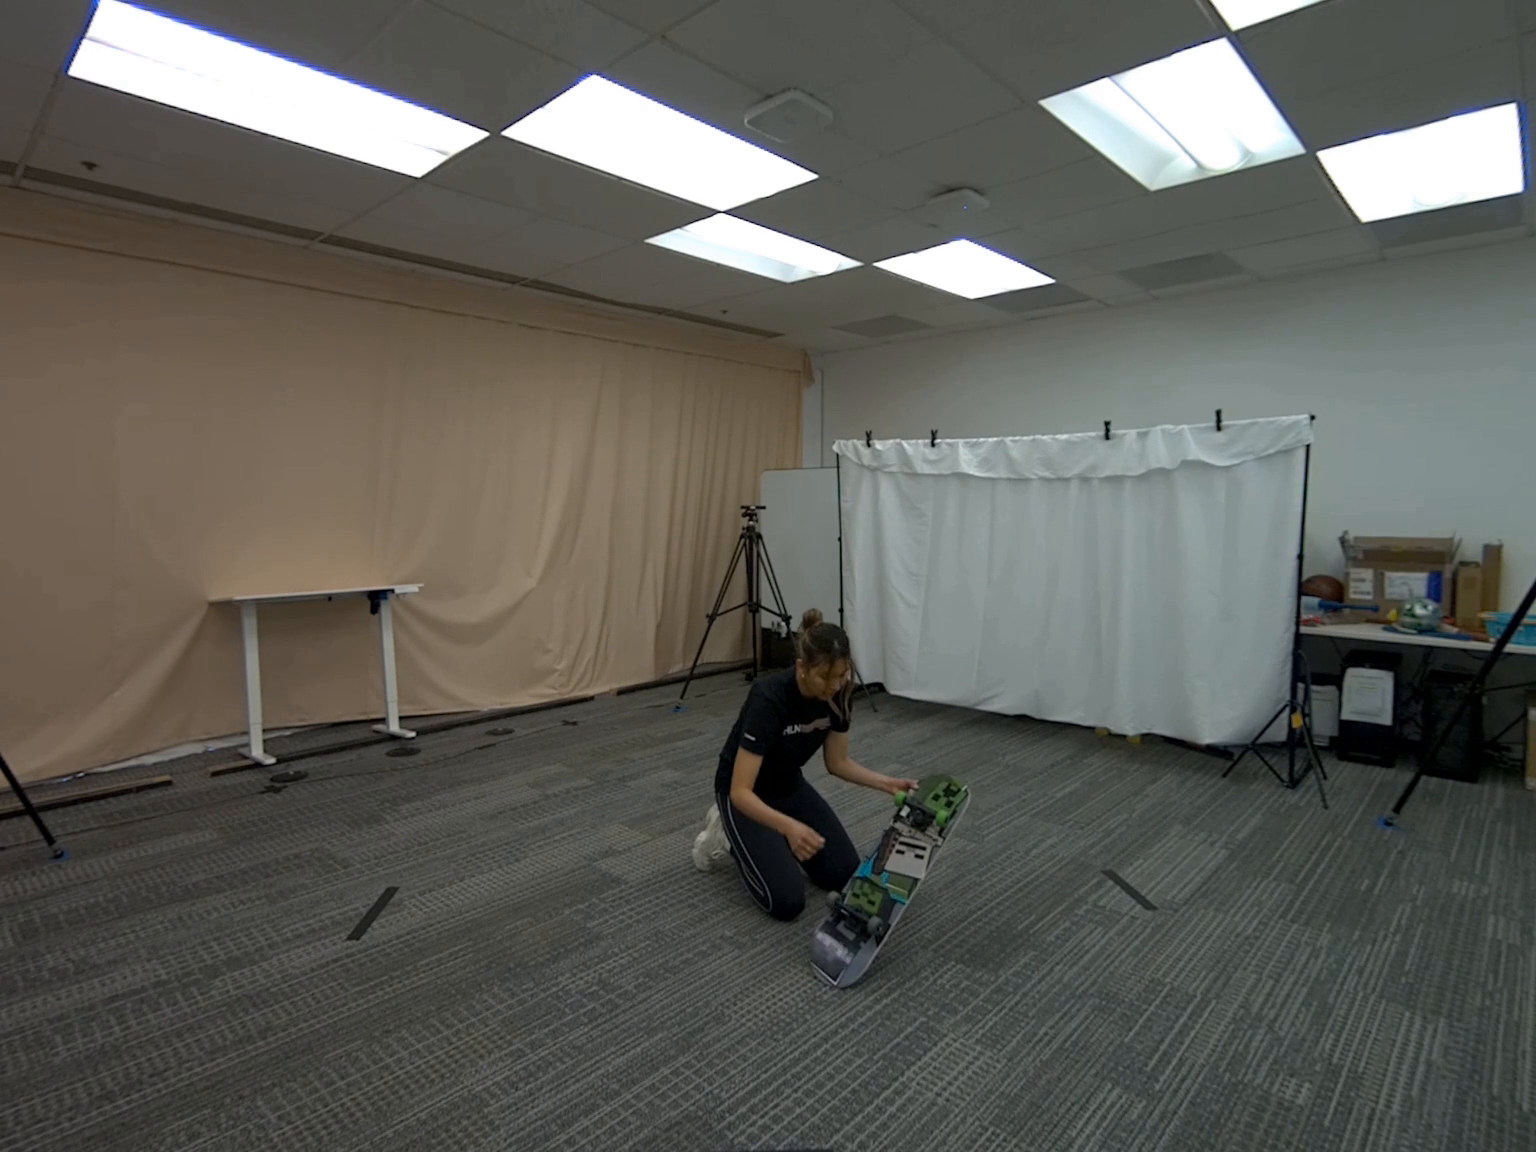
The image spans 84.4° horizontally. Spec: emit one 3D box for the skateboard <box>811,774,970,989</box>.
[{"bbox_3d":[0.384,0.895,2.612,0.200,0.107,0.779,17,52,42],"label":"skateboard"}]
